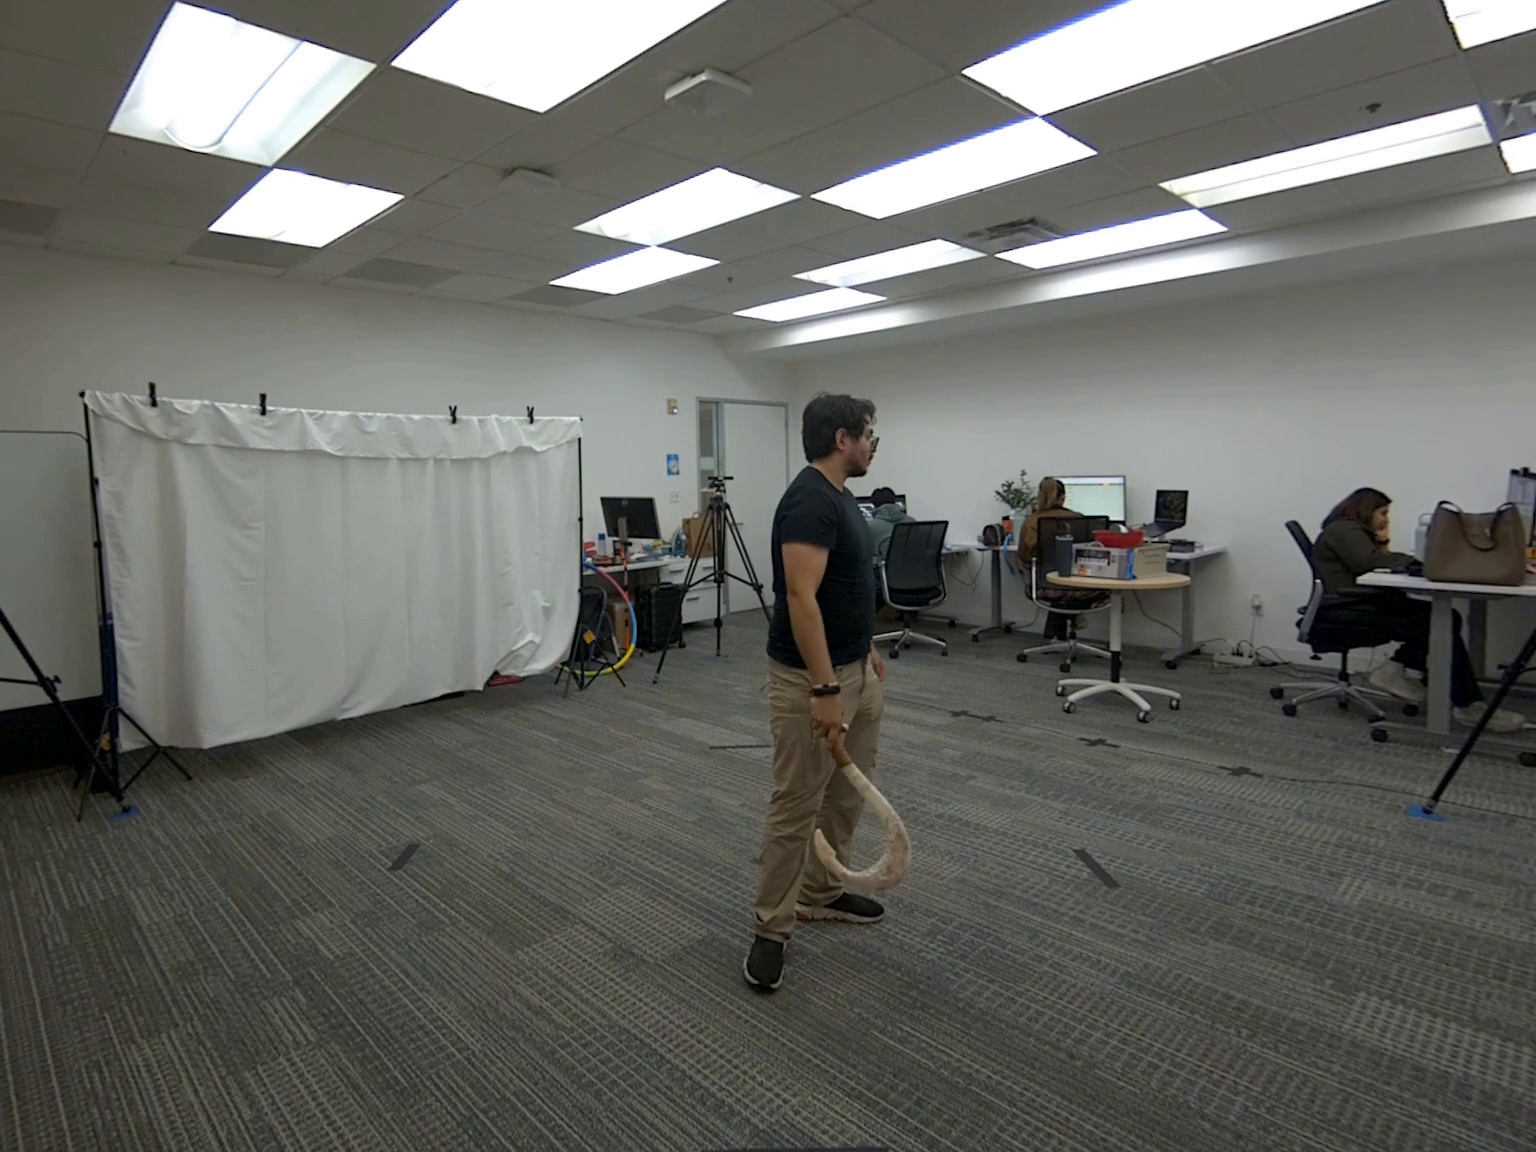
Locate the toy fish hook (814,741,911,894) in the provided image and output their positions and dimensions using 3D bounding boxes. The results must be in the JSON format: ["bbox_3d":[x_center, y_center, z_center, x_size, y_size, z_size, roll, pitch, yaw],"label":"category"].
[{"bbox_3d":[0.186,0.557,2.183,0.223,0.517,0.047,-23,-18,-12],"label":"toy fish hook"}]
